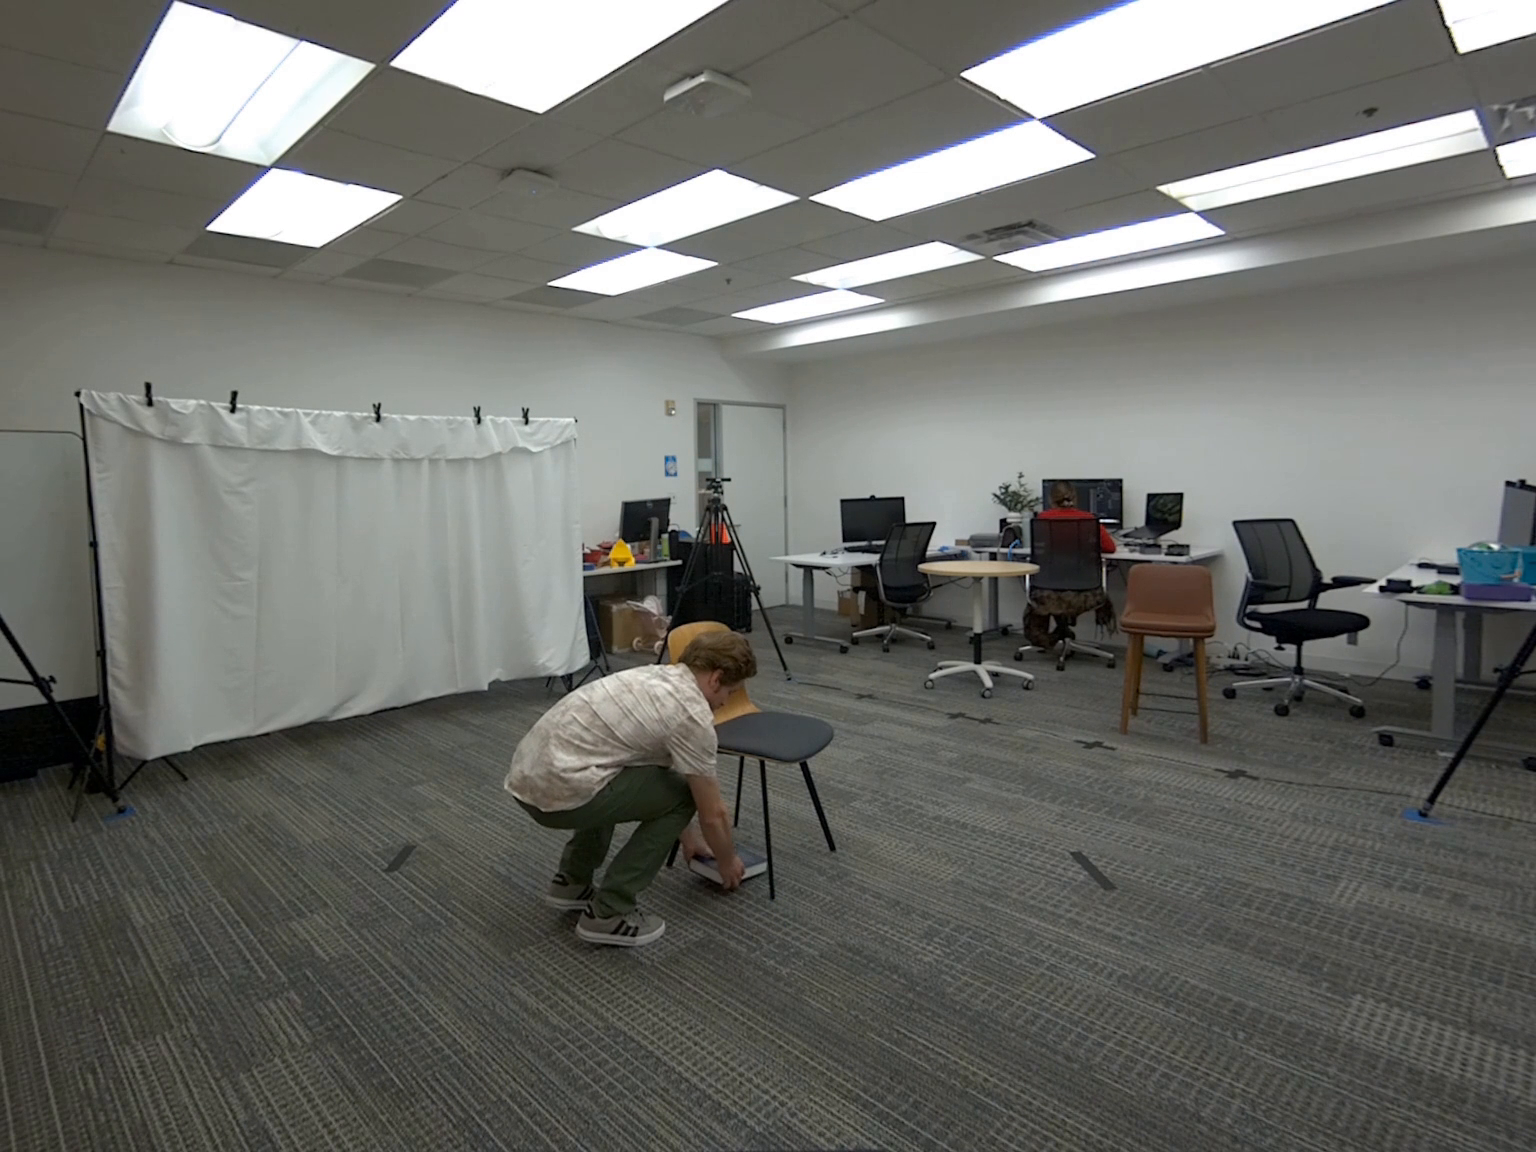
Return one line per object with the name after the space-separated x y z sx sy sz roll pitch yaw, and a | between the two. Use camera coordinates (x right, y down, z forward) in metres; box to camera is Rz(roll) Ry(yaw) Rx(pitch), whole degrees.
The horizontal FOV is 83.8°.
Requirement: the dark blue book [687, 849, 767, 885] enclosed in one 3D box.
-0.135 1.014 2.997 0.168 0.045 0.238 8 4 39 | dark blue book
